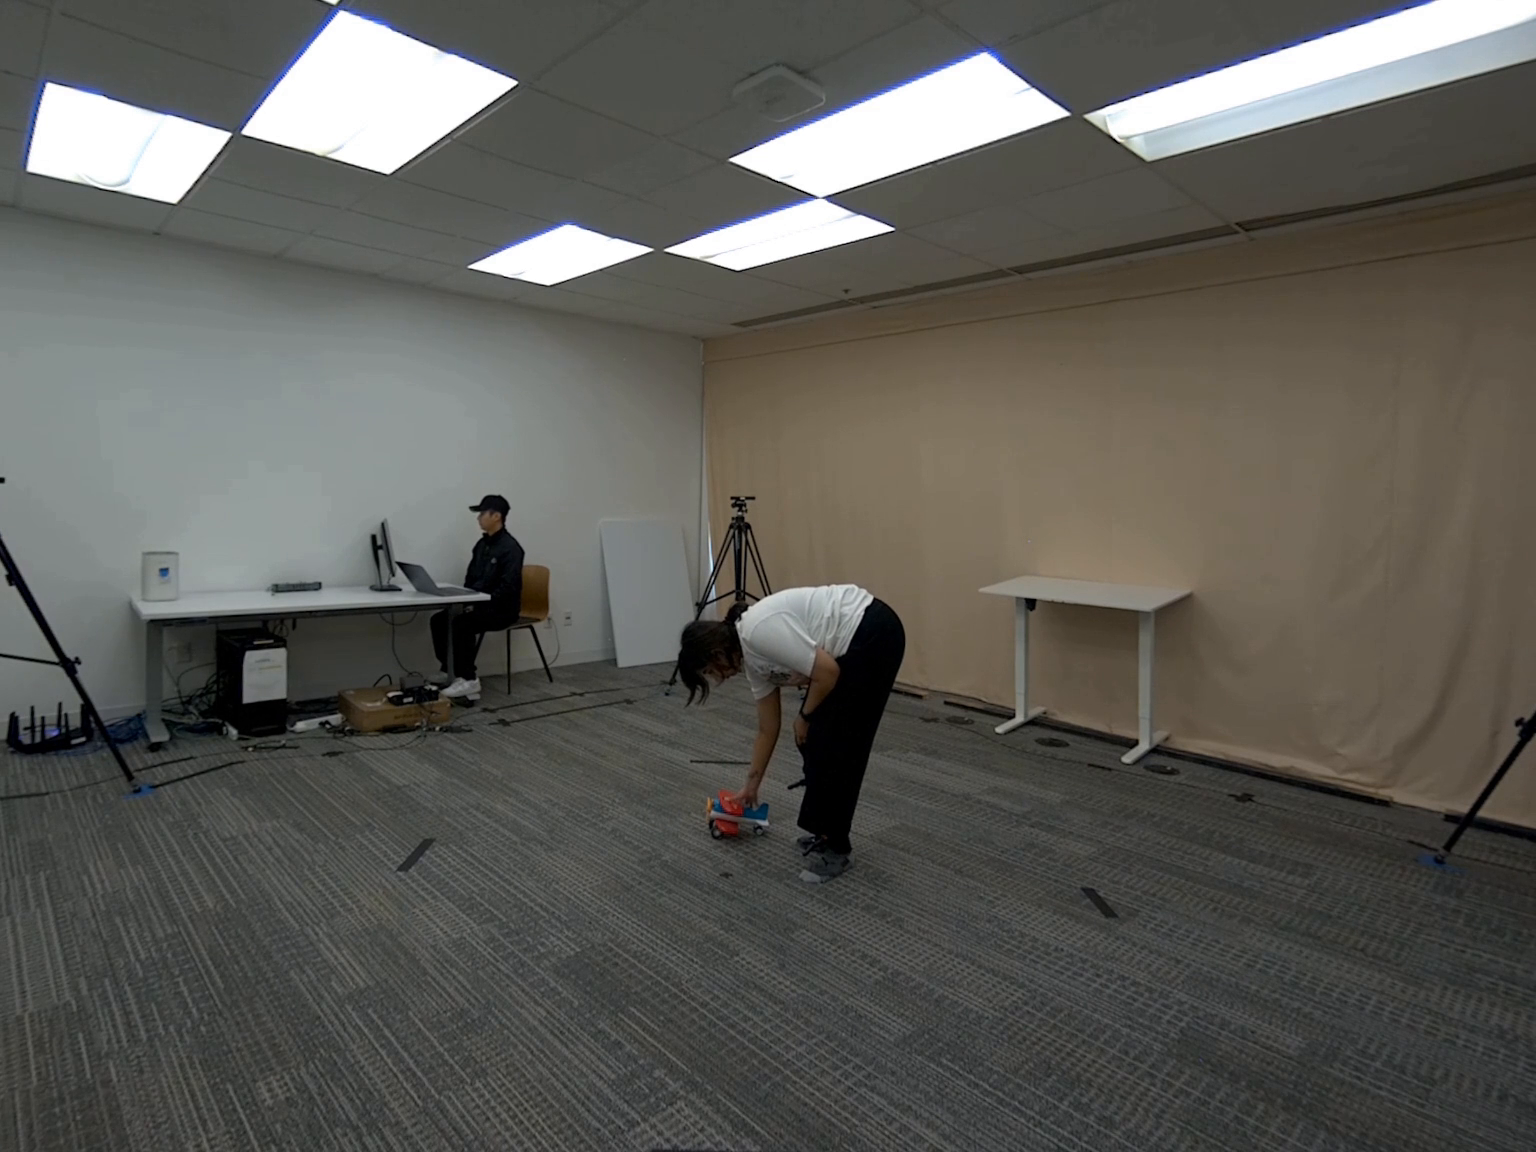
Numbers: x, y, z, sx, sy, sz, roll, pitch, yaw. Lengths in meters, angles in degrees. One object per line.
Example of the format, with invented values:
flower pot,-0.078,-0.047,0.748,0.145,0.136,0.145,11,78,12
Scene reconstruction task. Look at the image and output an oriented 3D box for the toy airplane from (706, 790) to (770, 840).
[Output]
toy airplane,-0.142,0.997,3.508,0.253,0.156,0.257,-1,4,-36
